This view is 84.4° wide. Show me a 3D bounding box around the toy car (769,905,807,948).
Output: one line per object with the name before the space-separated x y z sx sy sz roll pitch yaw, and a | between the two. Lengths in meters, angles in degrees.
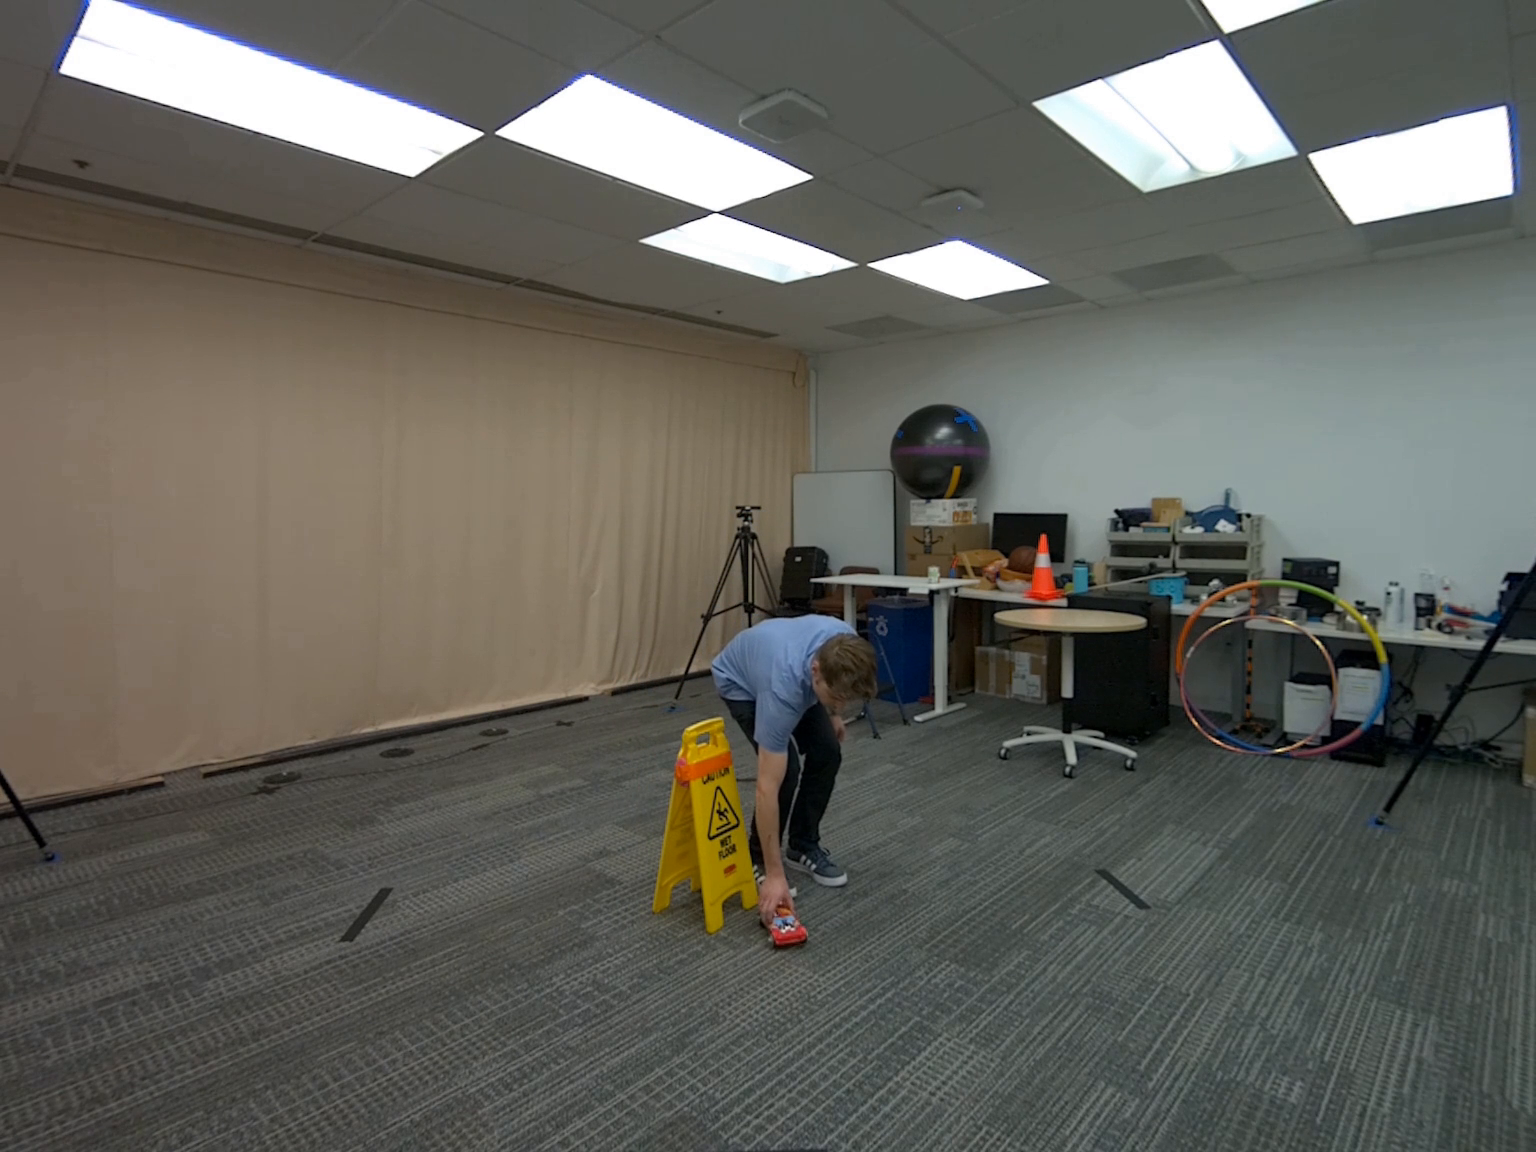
toy car | 0.031 1.119 2.754 0.129 0.082 0.259 -3 13 -10
